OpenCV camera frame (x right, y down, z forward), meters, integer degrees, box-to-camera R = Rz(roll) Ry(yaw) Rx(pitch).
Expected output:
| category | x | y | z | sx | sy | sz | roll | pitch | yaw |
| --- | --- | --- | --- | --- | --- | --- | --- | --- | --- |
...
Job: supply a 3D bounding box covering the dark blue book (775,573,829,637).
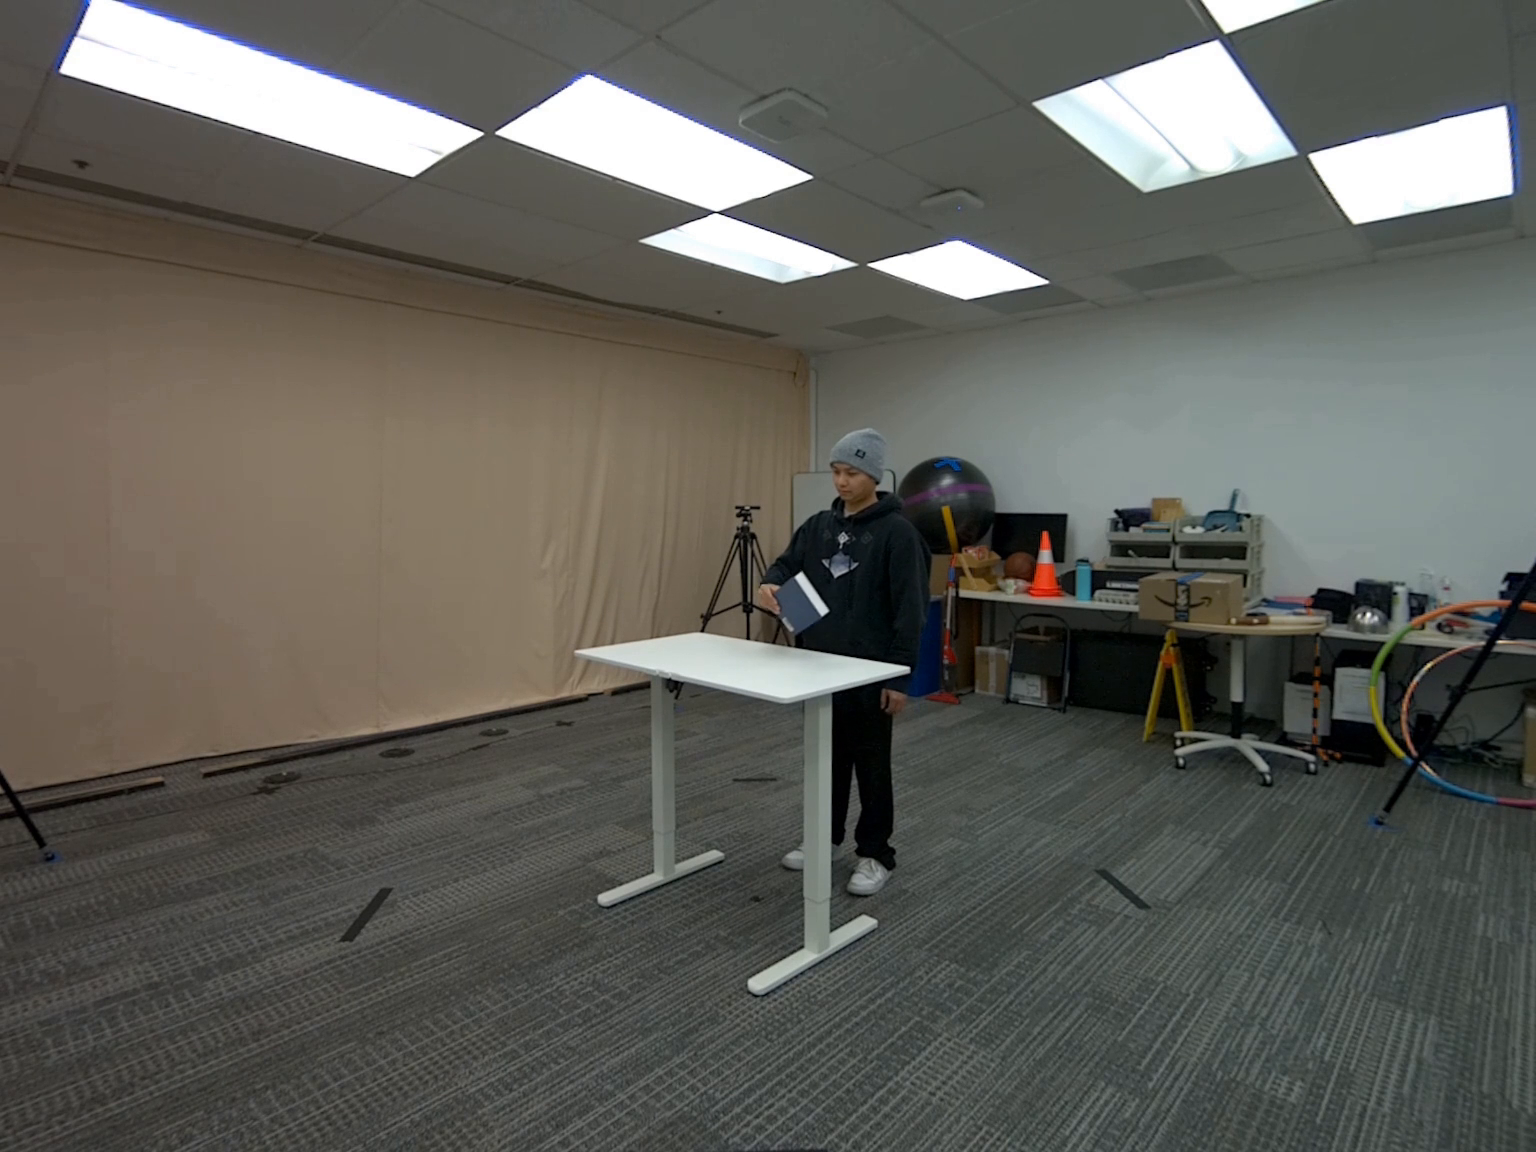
| category | x | y | z | sx | sy | sz | roll | pitch | yaw |
| --- | --- | --- | --- | --- | --- | --- | --- | --- | --- |
| dark blue book | 0.108 | 0.096 | 2.834 | 0.044 | 0.165 | 0.247 | -27 | -7 | -28 |
